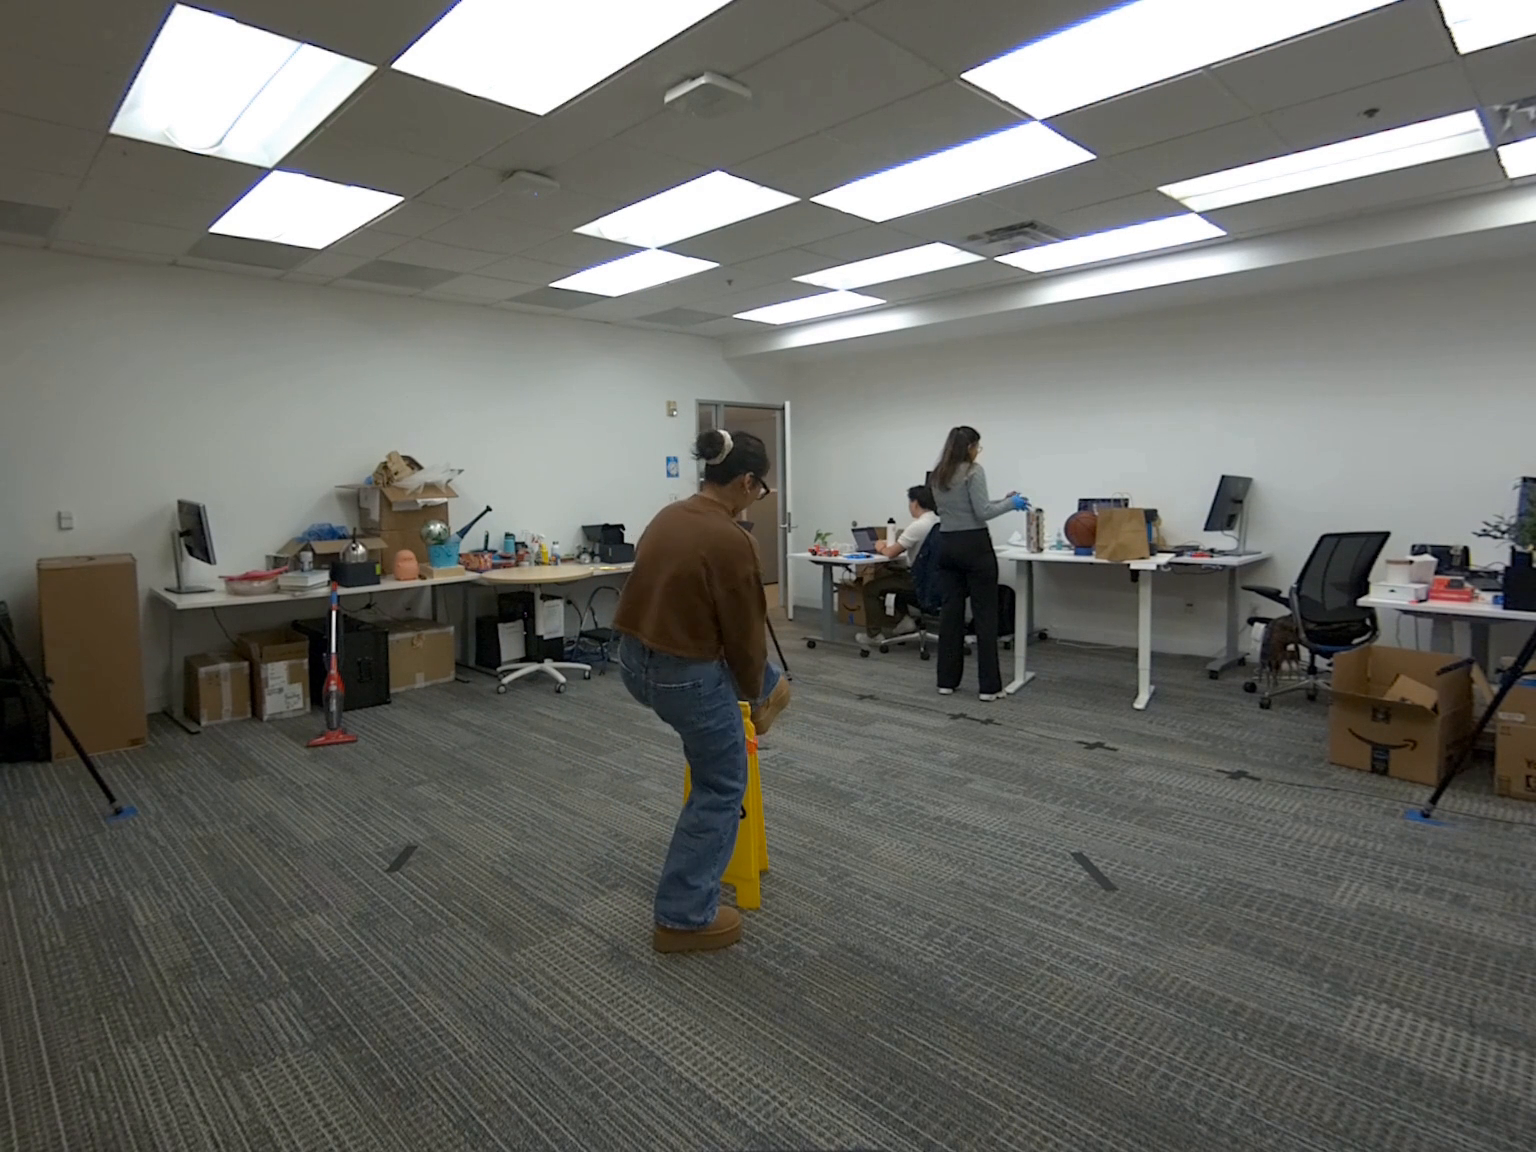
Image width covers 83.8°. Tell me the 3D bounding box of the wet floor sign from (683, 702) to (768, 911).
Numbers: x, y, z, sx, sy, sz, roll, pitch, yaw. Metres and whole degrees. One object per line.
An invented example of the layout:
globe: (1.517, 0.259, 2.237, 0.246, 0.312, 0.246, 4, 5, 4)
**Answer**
wet floor sign: (-0.144, 0.751, 2.911, 0.284, 0.643, 0.289, -1, 5, 7)
